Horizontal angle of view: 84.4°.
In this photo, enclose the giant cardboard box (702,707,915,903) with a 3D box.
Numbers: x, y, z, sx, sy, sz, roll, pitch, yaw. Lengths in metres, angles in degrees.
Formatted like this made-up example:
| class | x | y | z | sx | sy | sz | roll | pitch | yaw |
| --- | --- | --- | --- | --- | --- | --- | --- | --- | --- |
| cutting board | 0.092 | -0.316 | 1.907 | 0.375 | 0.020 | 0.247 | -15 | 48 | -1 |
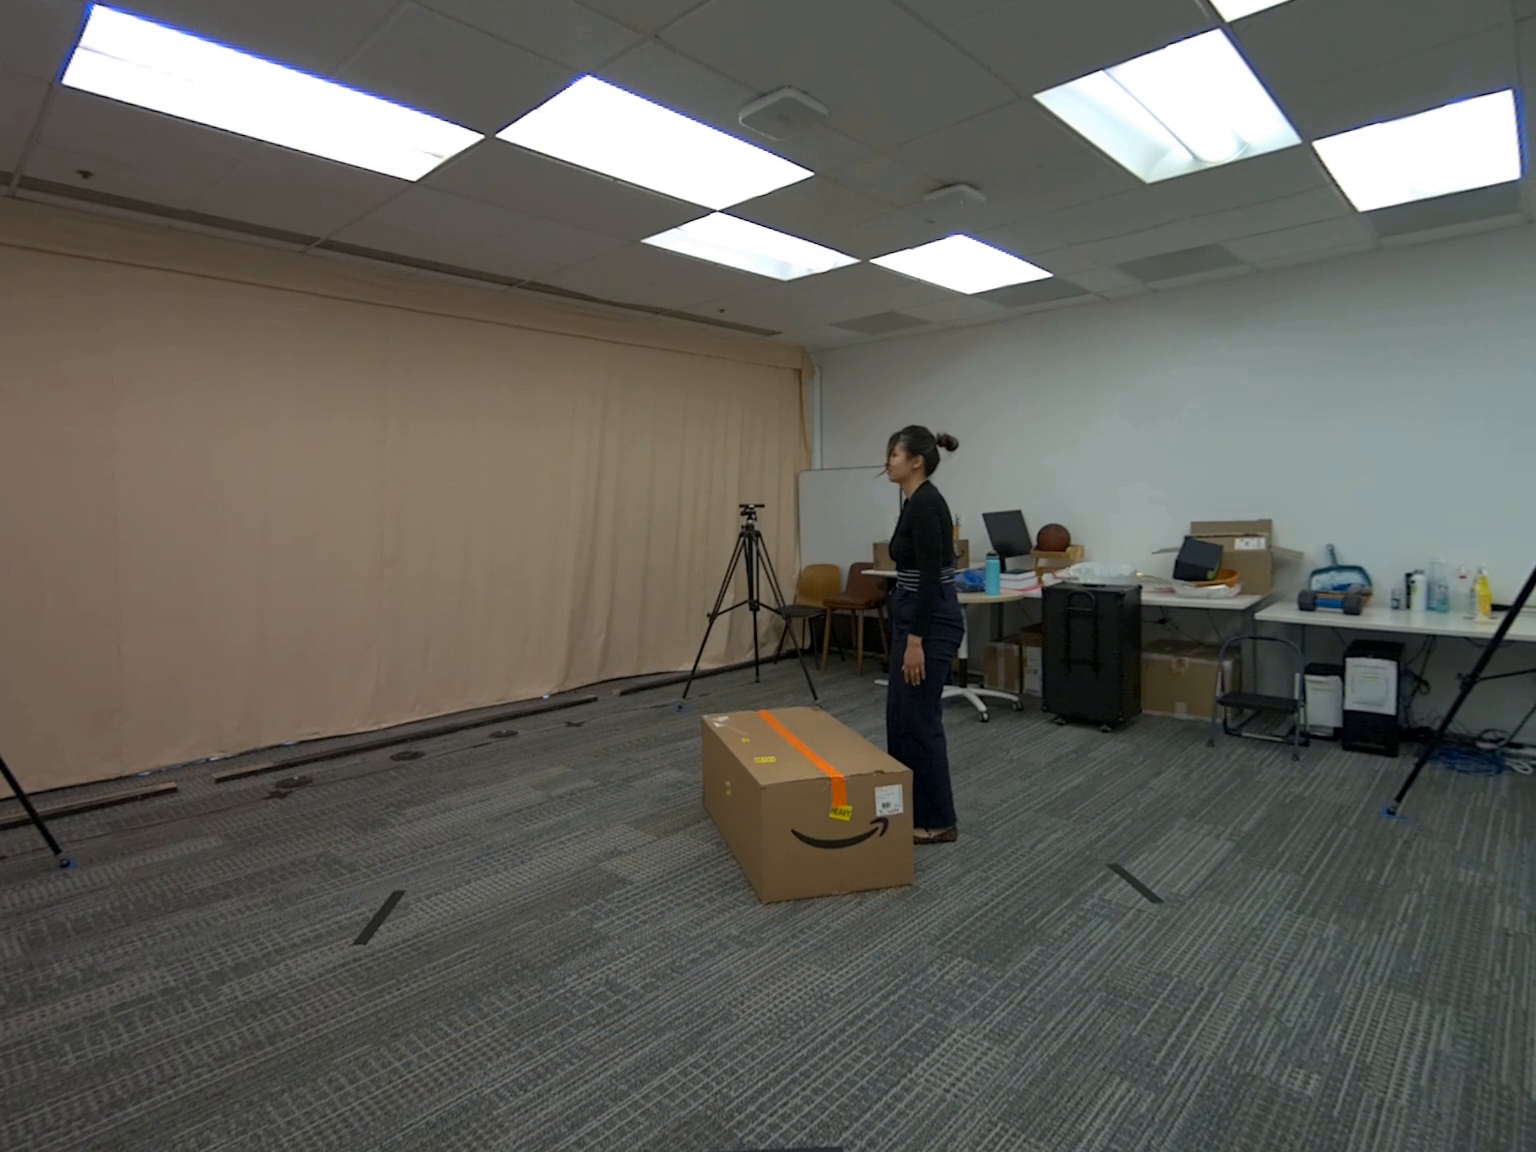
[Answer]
| class | x | y | z | sx | sy | sz | roll | pitch | yaw |
| --- | --- | --- | --- | --- | --- | --- | --- | --- | --- |
| giant cardboard box | 0.112 | 0.879 | 3.477 | 0.569 | 0.425 | 1.044 | -3 | 5 | -15 |
